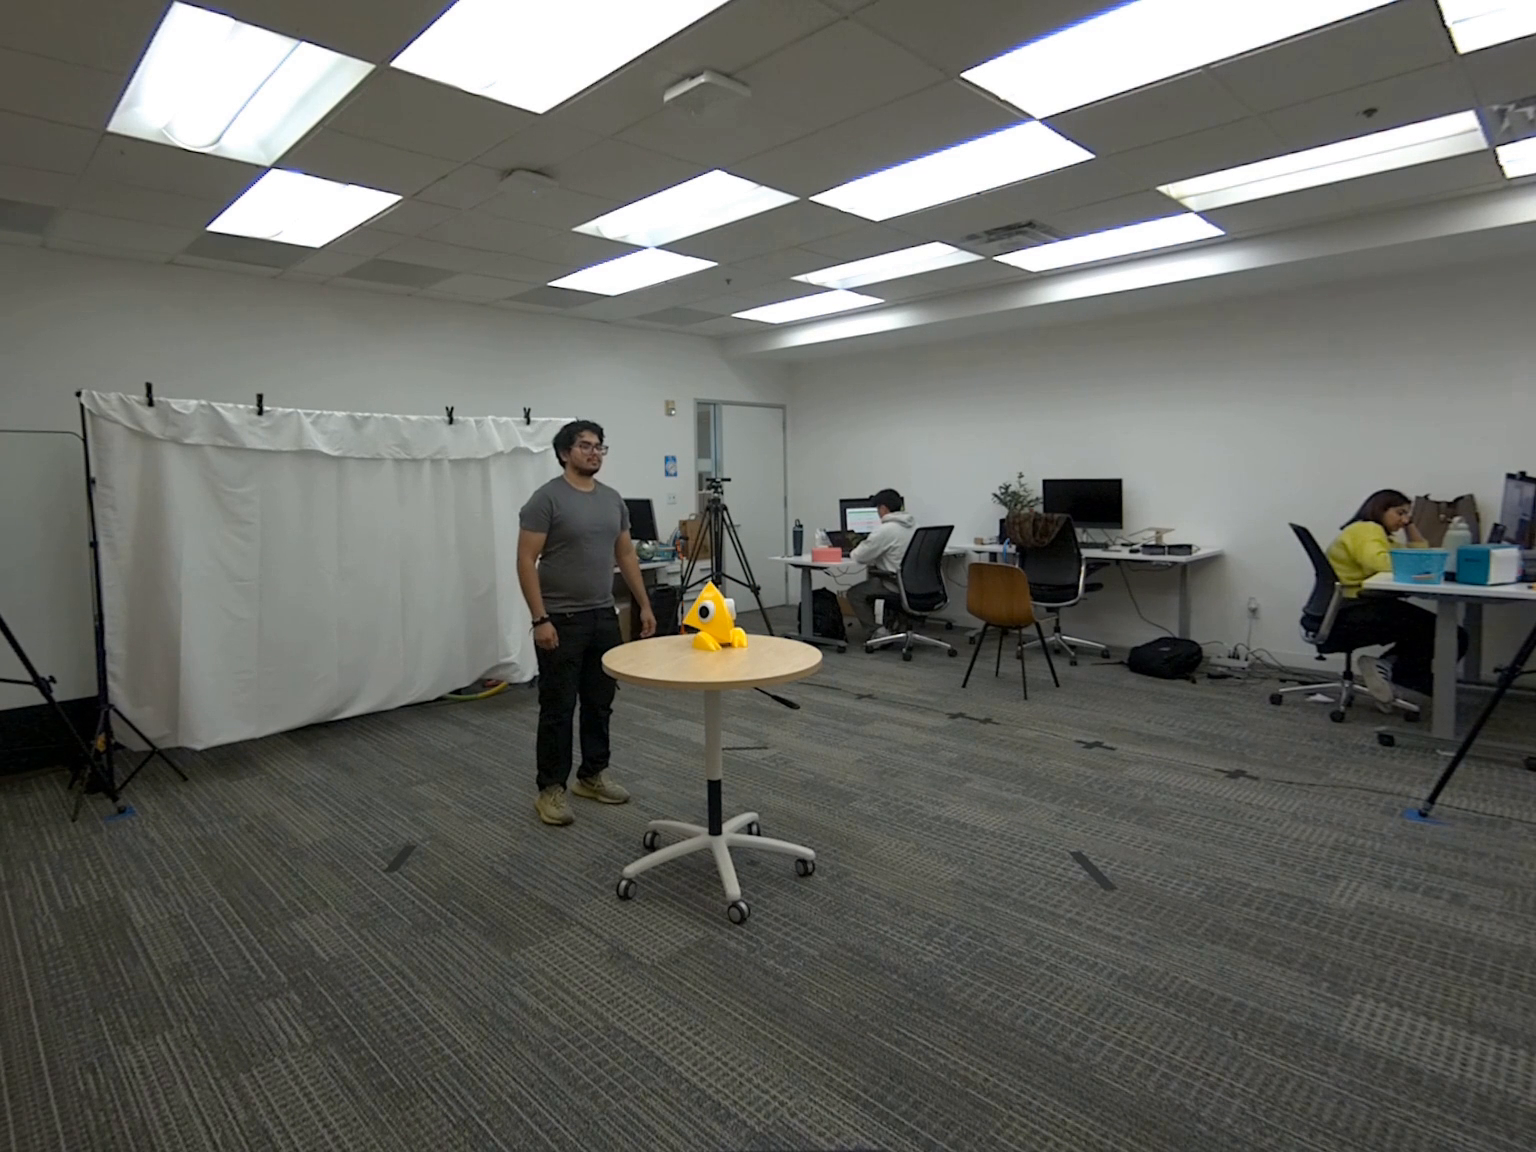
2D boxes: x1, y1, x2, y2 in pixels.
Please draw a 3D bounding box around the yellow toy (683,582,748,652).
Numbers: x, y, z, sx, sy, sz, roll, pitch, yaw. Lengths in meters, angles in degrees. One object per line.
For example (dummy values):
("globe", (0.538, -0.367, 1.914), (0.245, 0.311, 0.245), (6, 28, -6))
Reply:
("yellow toy", (-0.180, 0.140, 3.149), (0.200, 0.230, 0.198), (-3, 5, -29))
